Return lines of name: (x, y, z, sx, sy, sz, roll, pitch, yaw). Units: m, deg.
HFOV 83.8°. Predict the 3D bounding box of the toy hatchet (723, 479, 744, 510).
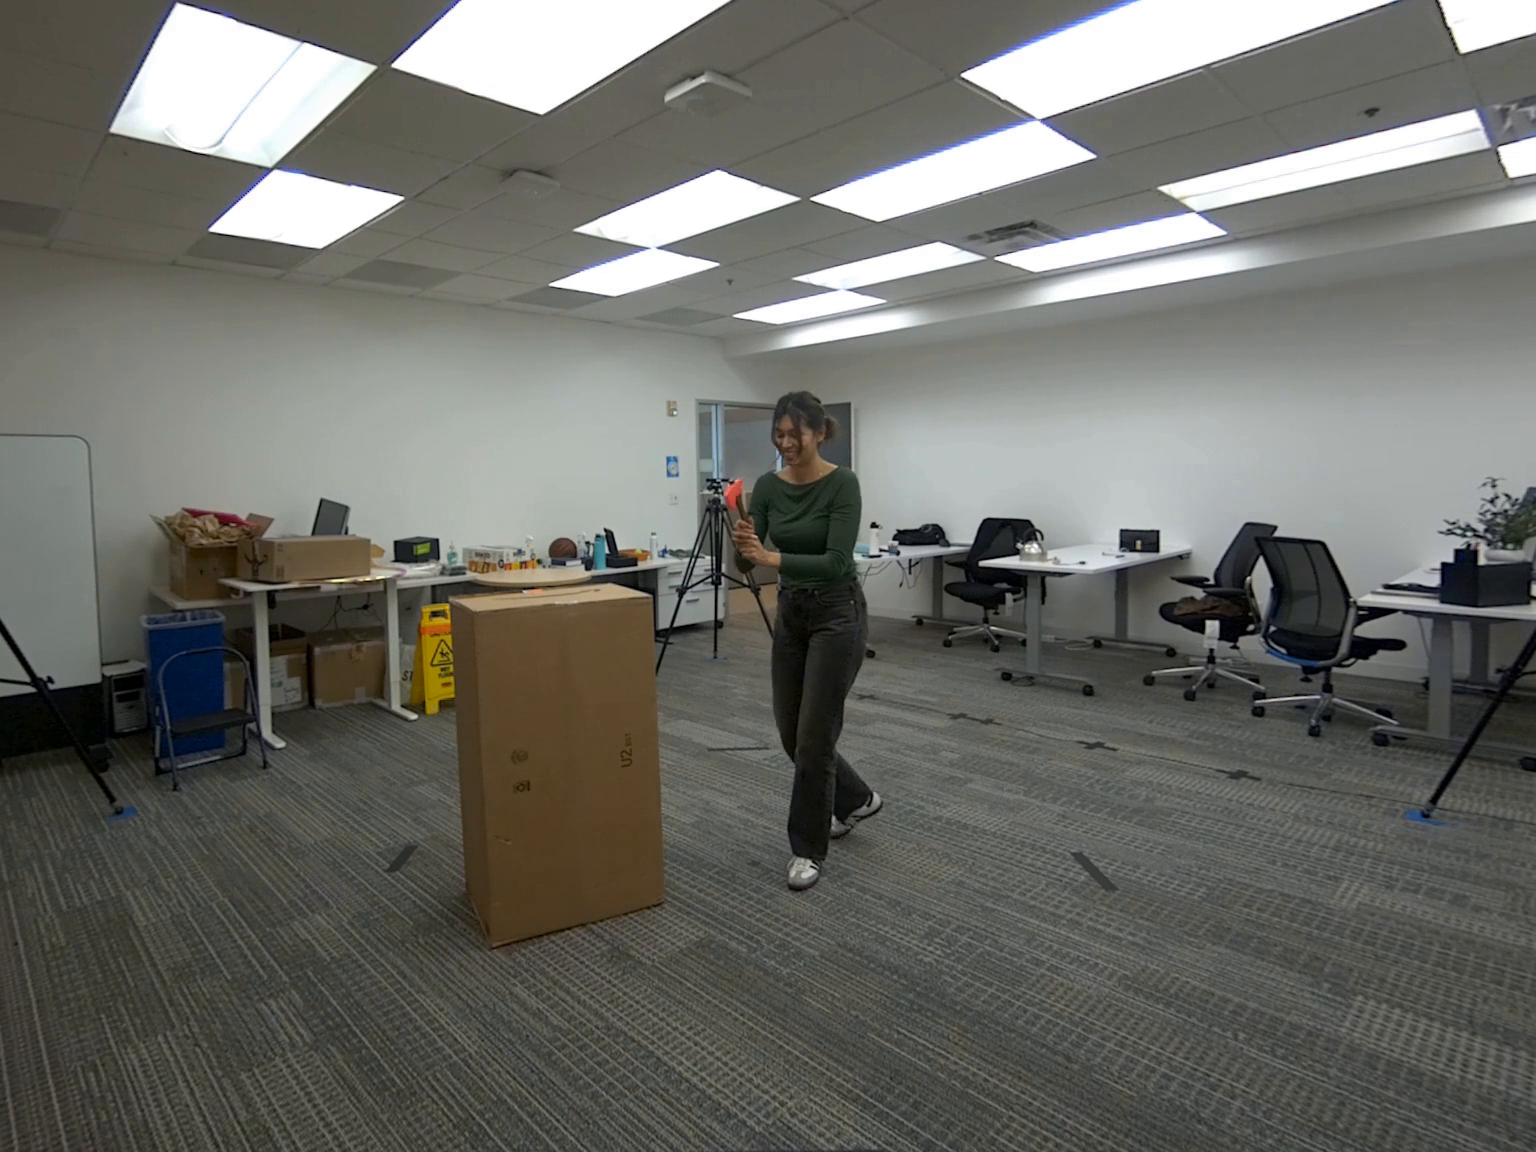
toy hatchet: (-0.086, -0.180, 2.734, 0.030, 0.269, 0.129, -10, 6, 26)
